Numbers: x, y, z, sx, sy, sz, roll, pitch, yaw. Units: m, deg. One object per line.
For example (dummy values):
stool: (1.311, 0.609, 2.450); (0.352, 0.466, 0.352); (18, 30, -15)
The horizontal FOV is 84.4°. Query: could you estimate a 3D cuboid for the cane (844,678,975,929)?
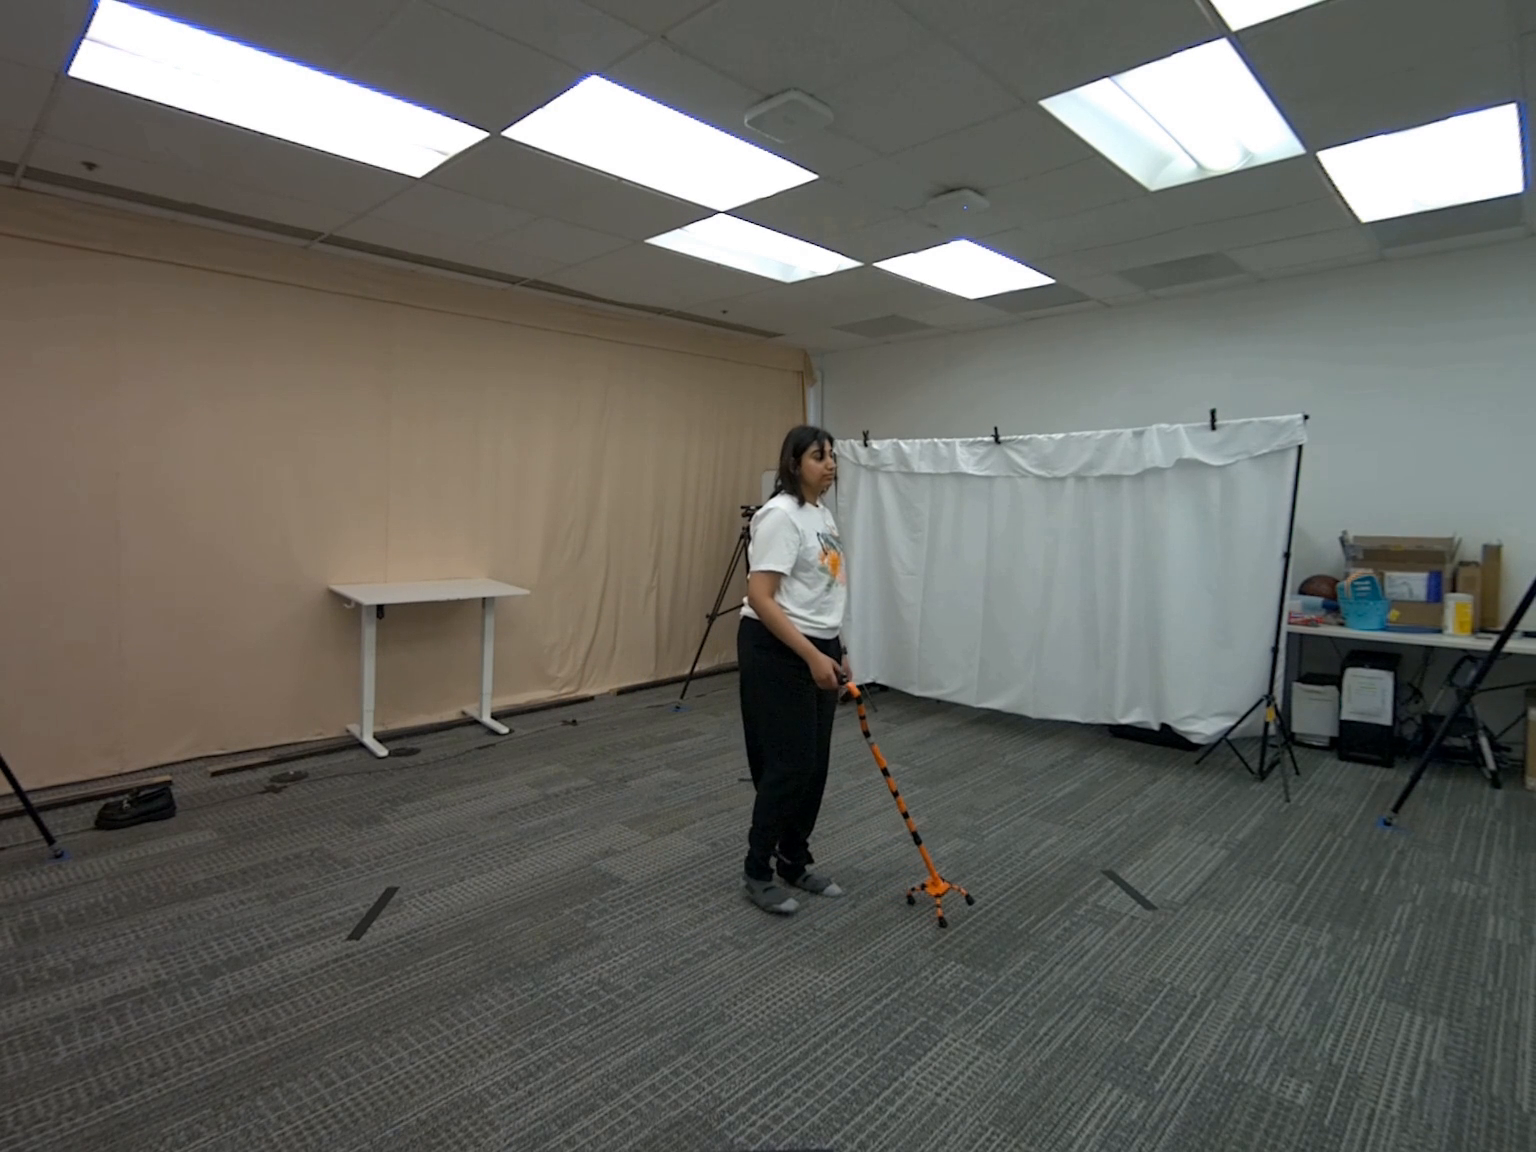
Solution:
cane: (0.419, 0.731, 2.782); (0.150, 0.895, 0.212); (-30, 14, -20)
